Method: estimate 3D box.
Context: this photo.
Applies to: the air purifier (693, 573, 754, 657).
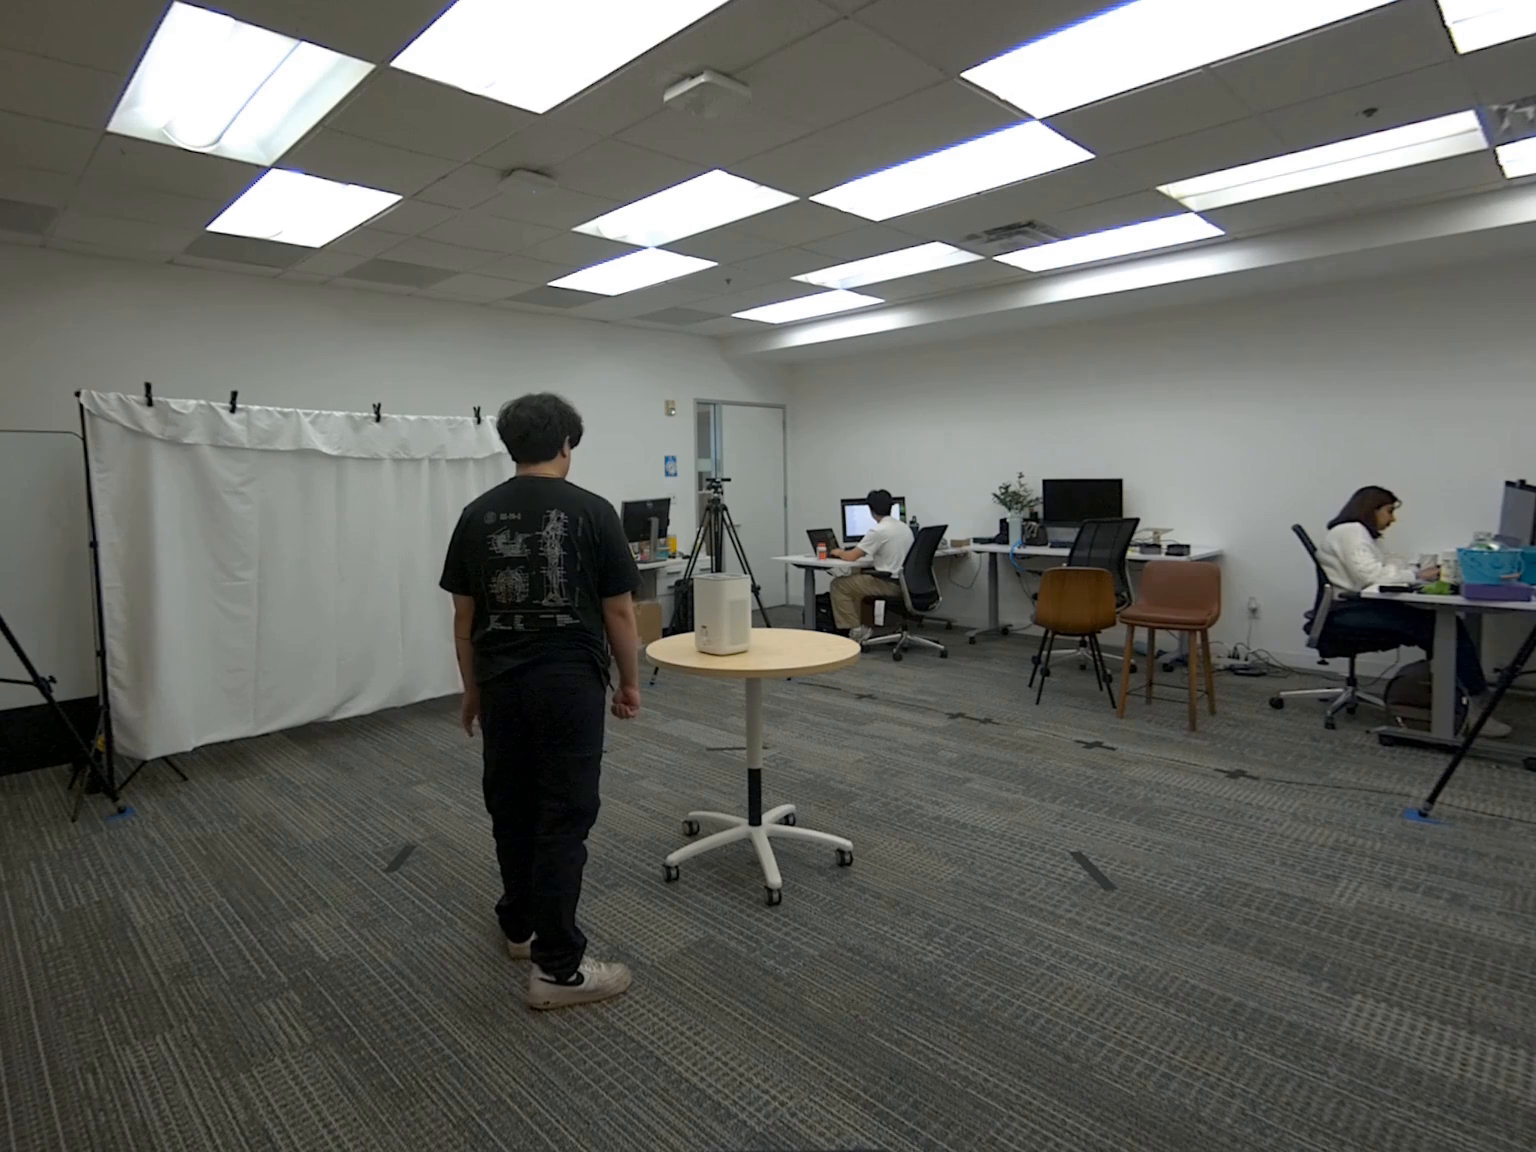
[{"bbox_3d":[-0.156,0.128,2.980,0.167,0.264,0.176,-4,6,-44],"label":"air purifier"}]
